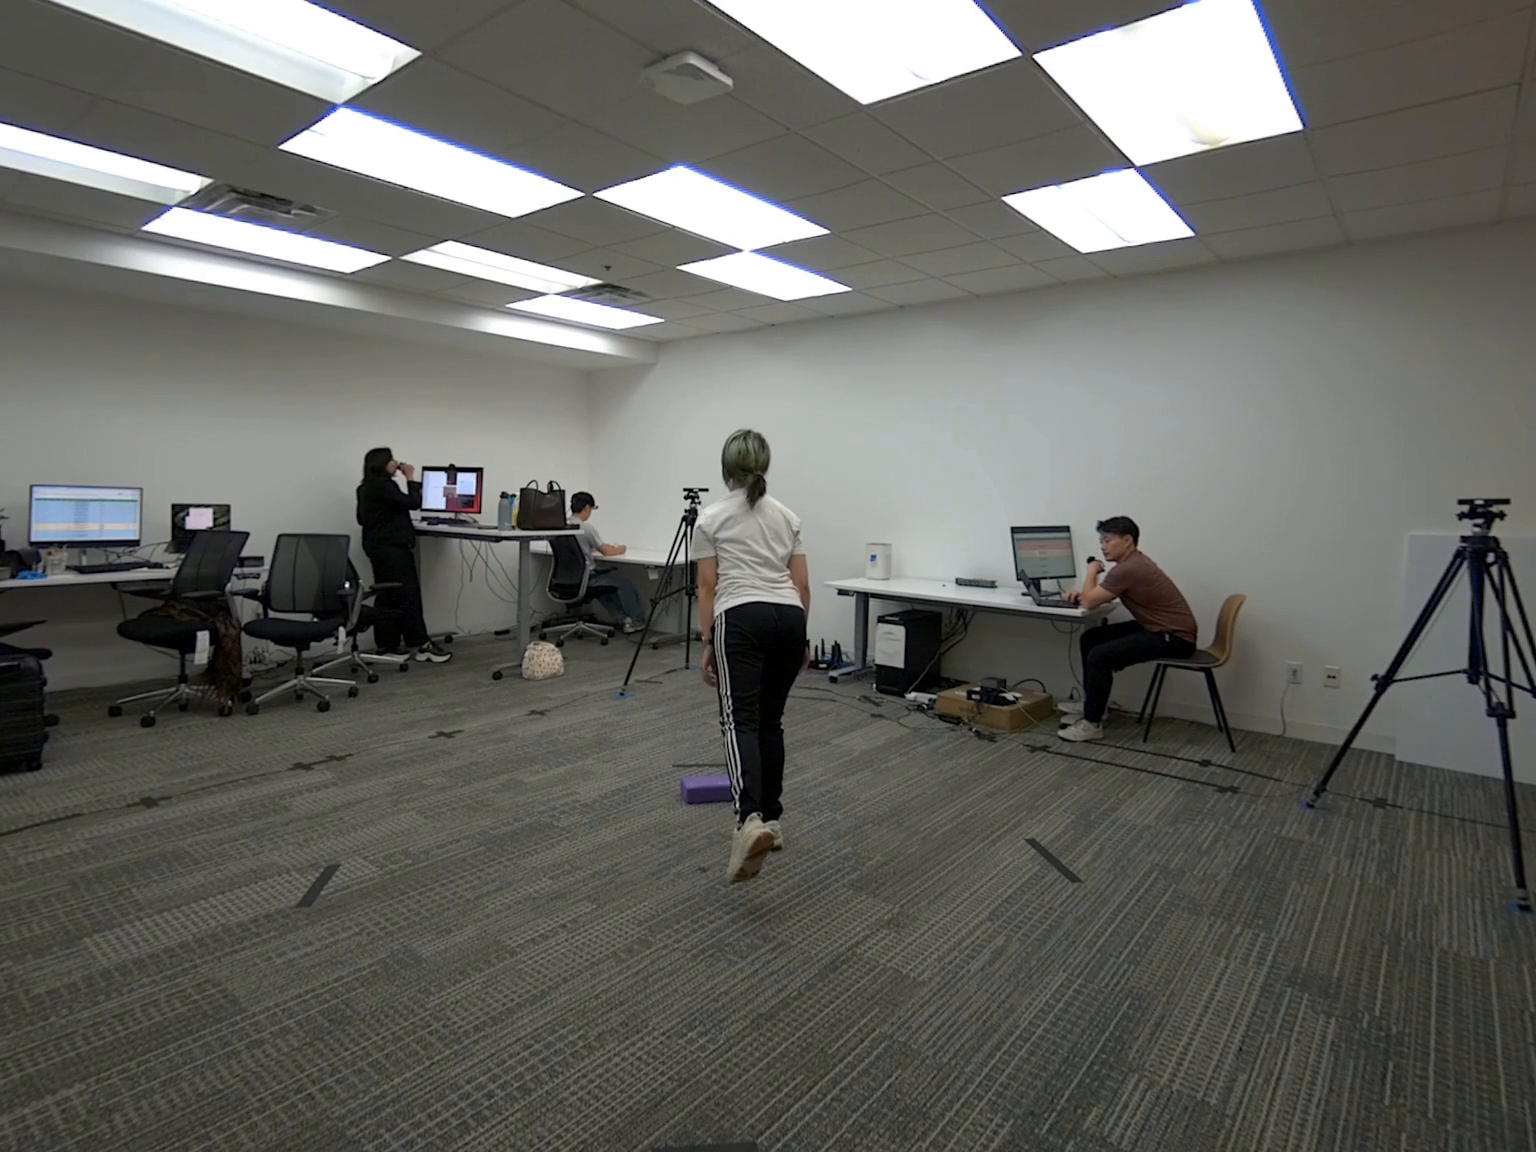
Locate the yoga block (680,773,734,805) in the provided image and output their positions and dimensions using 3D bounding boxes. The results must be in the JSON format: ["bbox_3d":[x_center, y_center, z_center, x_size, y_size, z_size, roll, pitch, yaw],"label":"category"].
[{"bbox_3d":[-0.282,0.957,3.845,0.226,0.076,0.152,-1,6,-15],"label":"yoga block"}]
